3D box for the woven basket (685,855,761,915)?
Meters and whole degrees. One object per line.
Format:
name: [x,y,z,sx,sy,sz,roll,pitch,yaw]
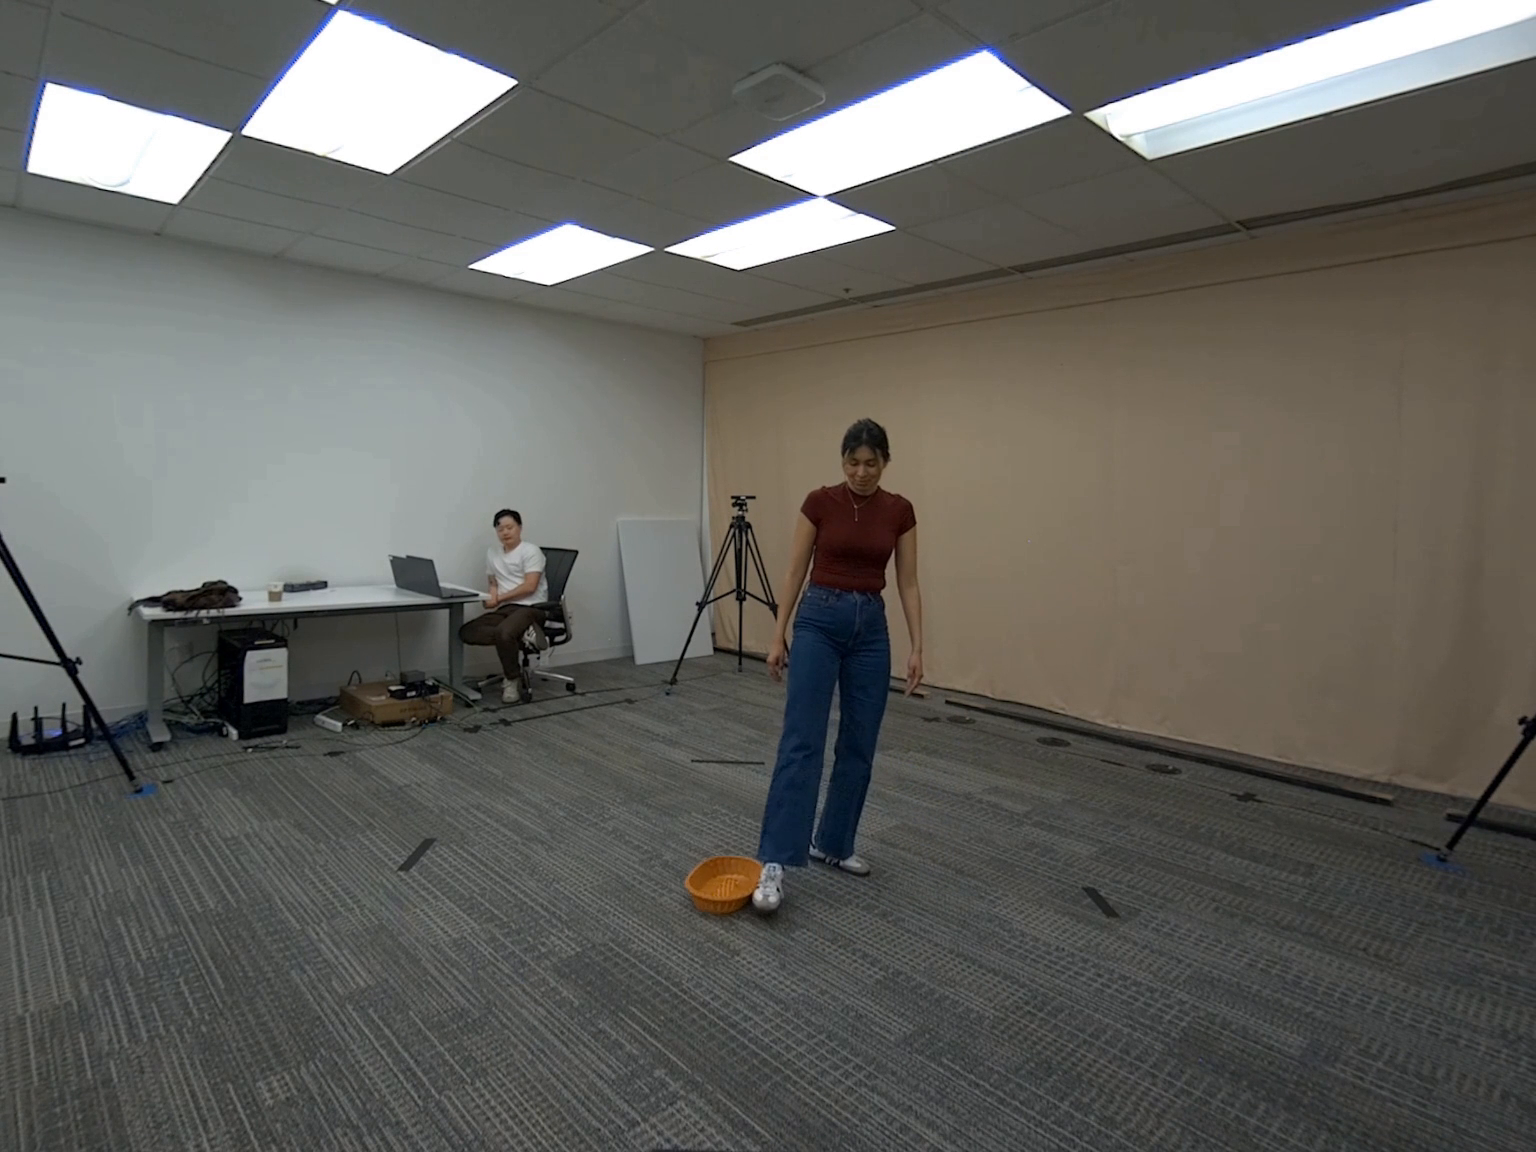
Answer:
woven basket: [-0.147,1.072,2.938,0.257,0.073,0.345,4,6,21]
